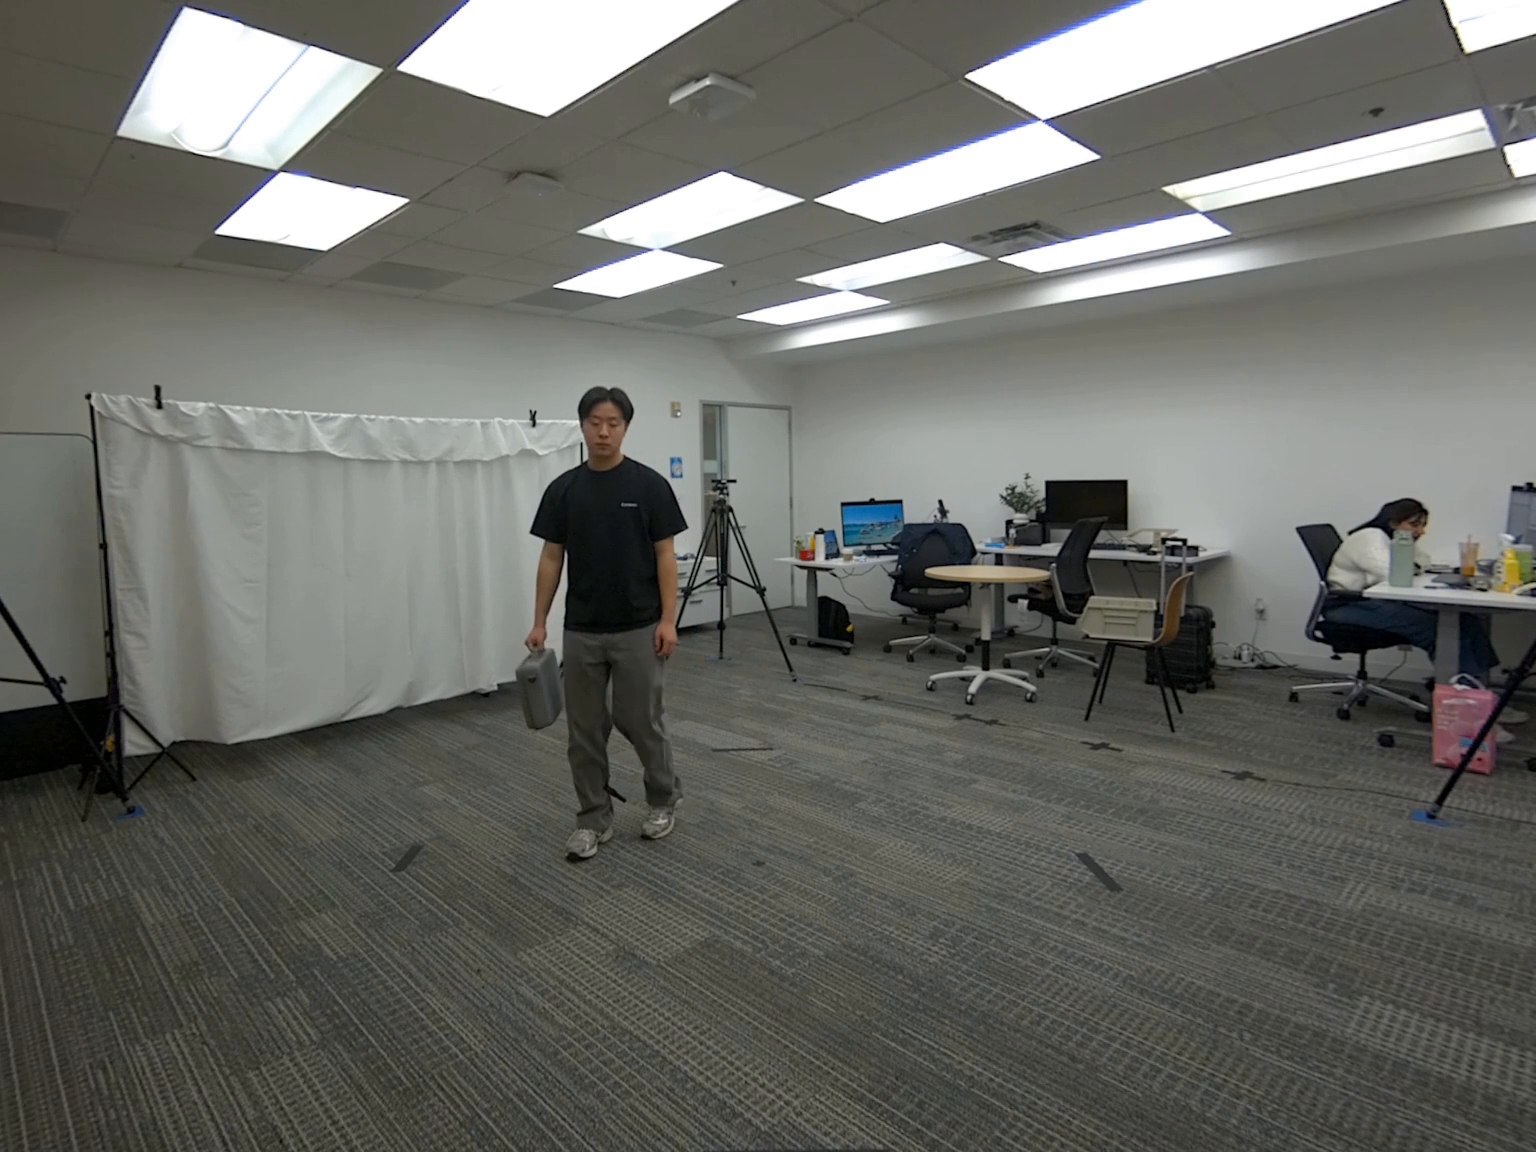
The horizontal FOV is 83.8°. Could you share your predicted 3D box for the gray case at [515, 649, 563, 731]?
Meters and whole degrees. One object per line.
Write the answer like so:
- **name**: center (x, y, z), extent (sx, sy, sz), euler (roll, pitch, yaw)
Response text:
- **gray case**: center (-0.863, 0.412, 3.281), extent (0.103, 0.284, 0.266), euler (-9, 11, 0)
